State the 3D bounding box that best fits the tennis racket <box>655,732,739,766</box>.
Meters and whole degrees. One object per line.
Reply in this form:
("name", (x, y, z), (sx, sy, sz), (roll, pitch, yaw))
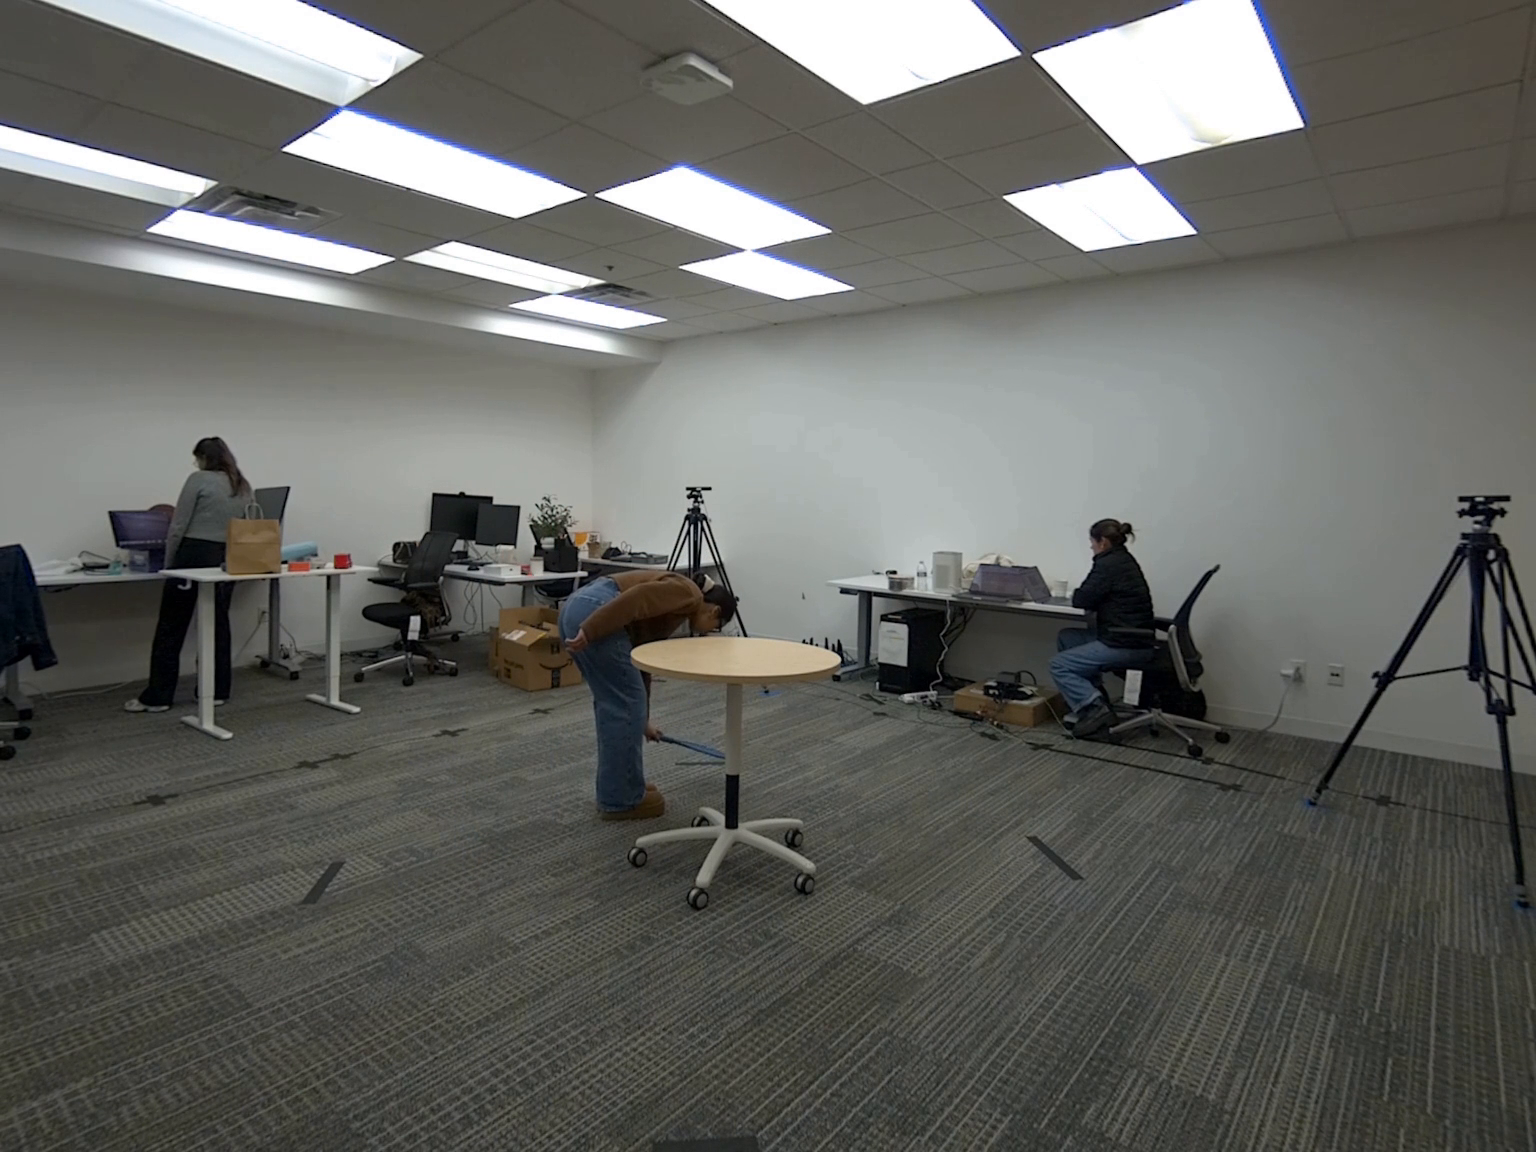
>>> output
("tennis racket", (-0.378, 0.794, 3.951), (0.421, 0.032, 0.219), (21, -8, -23))
